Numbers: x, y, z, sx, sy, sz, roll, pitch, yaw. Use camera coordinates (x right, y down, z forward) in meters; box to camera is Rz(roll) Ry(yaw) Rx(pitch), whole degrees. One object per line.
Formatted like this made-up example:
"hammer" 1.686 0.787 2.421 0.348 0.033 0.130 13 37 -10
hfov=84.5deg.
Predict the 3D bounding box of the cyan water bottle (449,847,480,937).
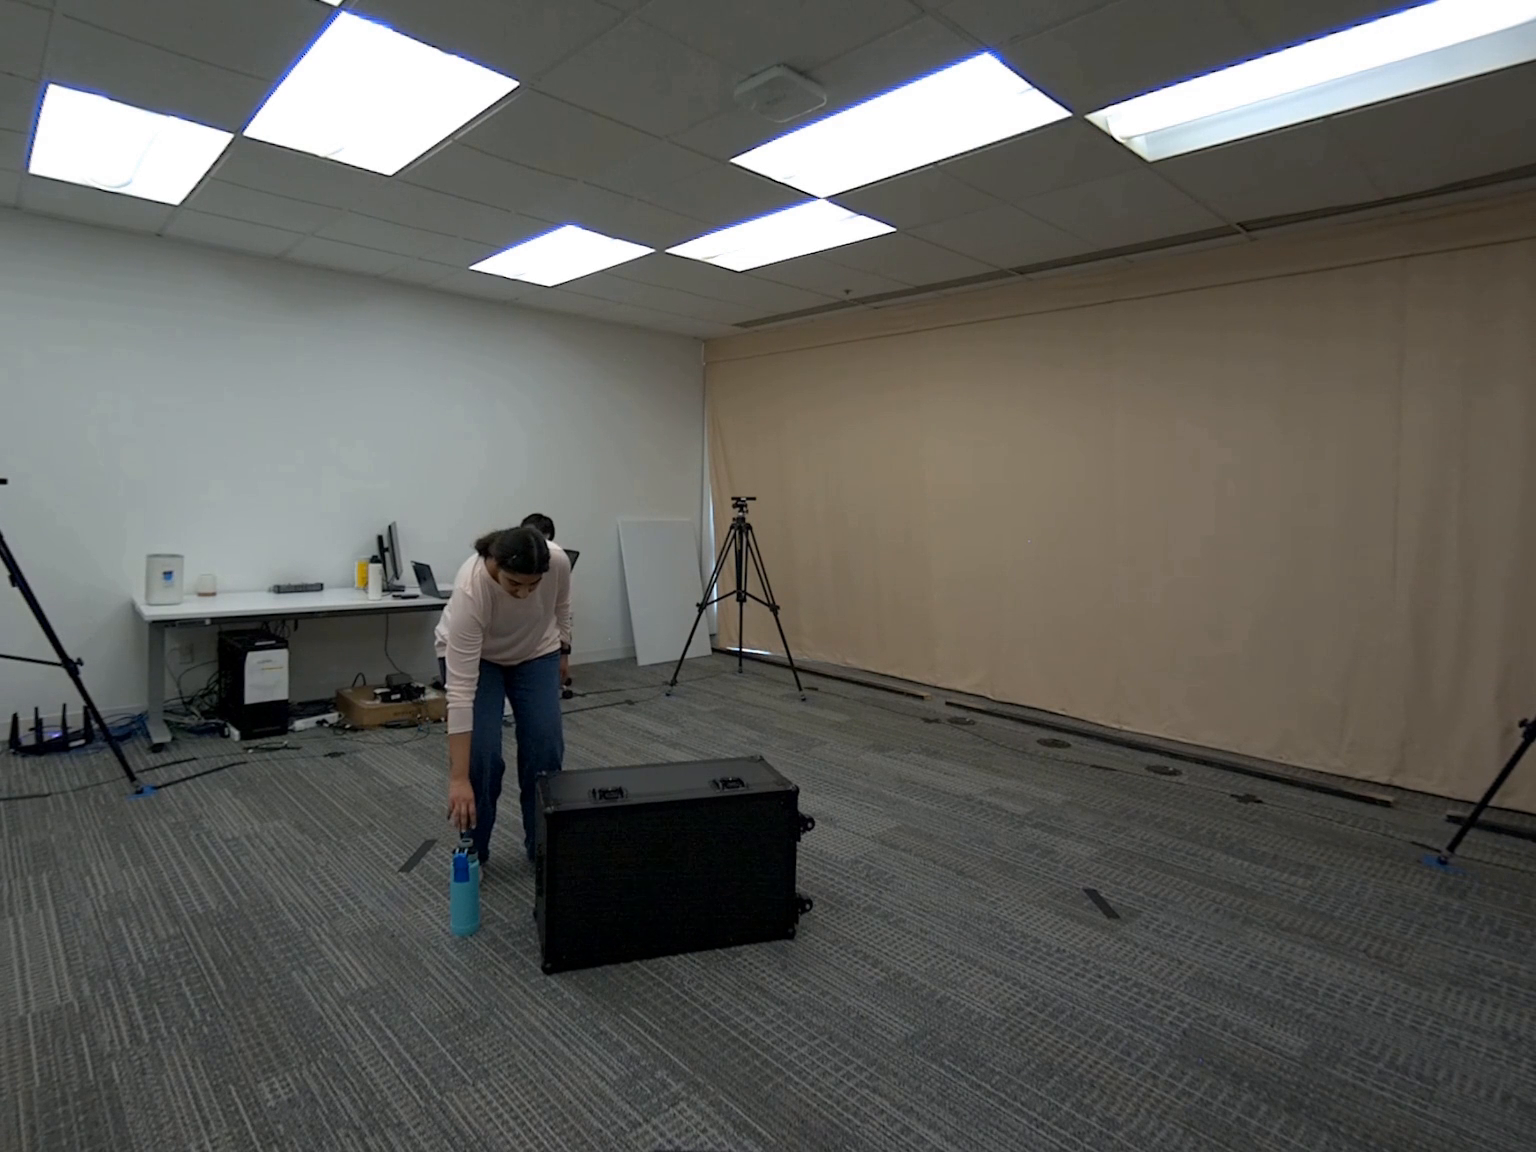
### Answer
"cyan water bottle" -0.968 0.984 2.676 0.092 0.282 0.093 3 6 -2
